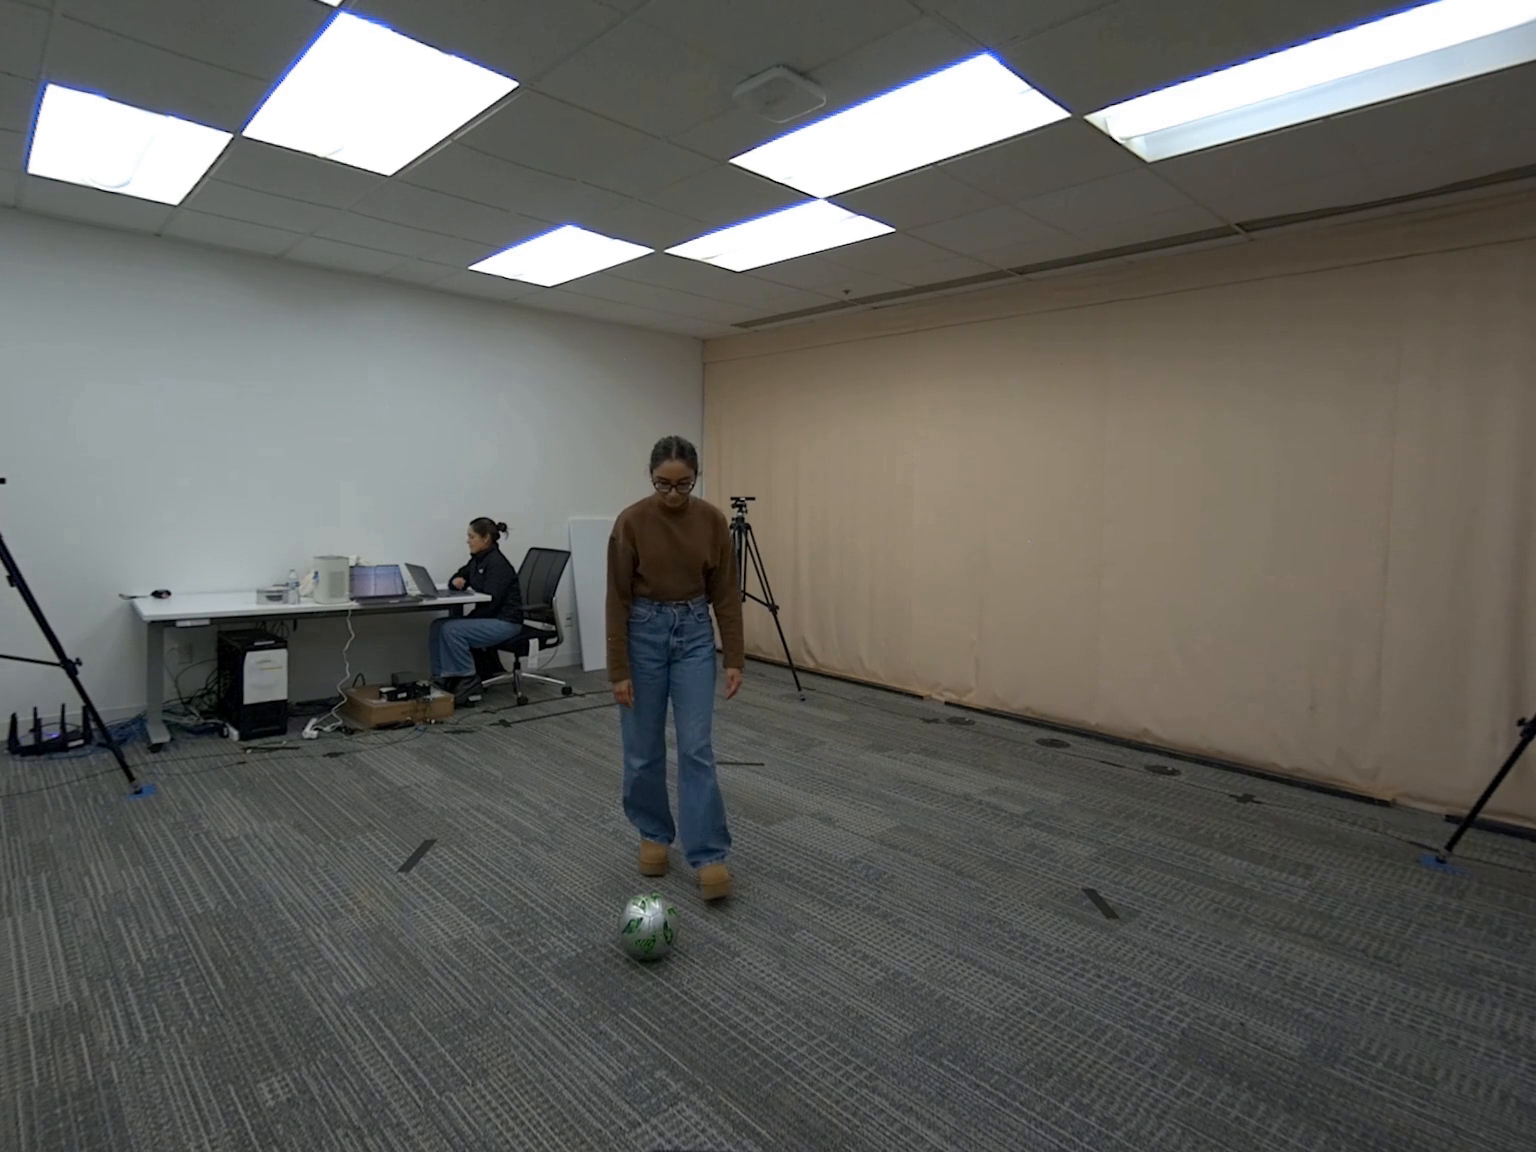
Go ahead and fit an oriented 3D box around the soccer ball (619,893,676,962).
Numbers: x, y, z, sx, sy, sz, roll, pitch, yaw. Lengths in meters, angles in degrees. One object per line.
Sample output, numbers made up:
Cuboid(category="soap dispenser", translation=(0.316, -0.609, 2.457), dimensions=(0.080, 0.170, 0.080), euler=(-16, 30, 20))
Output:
Cuboid(category="soccer ball", translation=(-0.374, 1.060, 2.539), dimensions=(0.187, 0.187, 0.188), euler=(1, 4, -1))
